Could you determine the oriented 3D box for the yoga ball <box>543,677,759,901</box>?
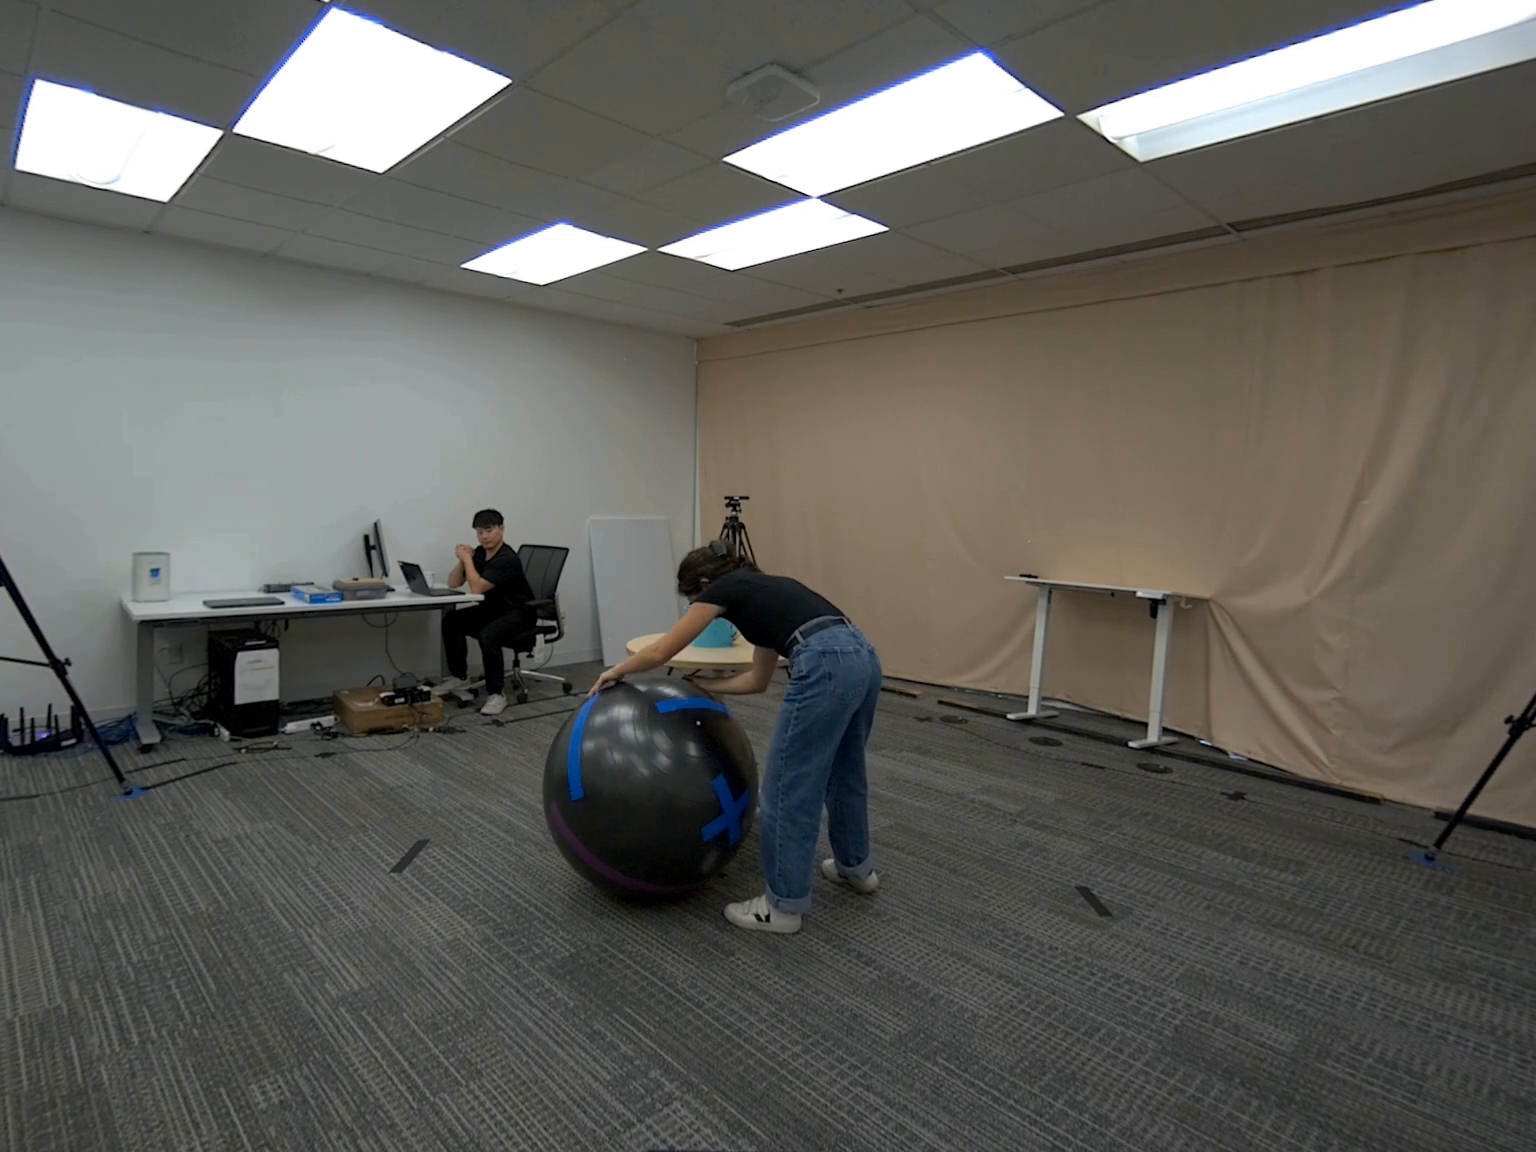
[{"bbox_3d":[-0.414,0.742,2.975,0.757,0.756,0.761,1,4,-1],"label":"yoga ball"}]
